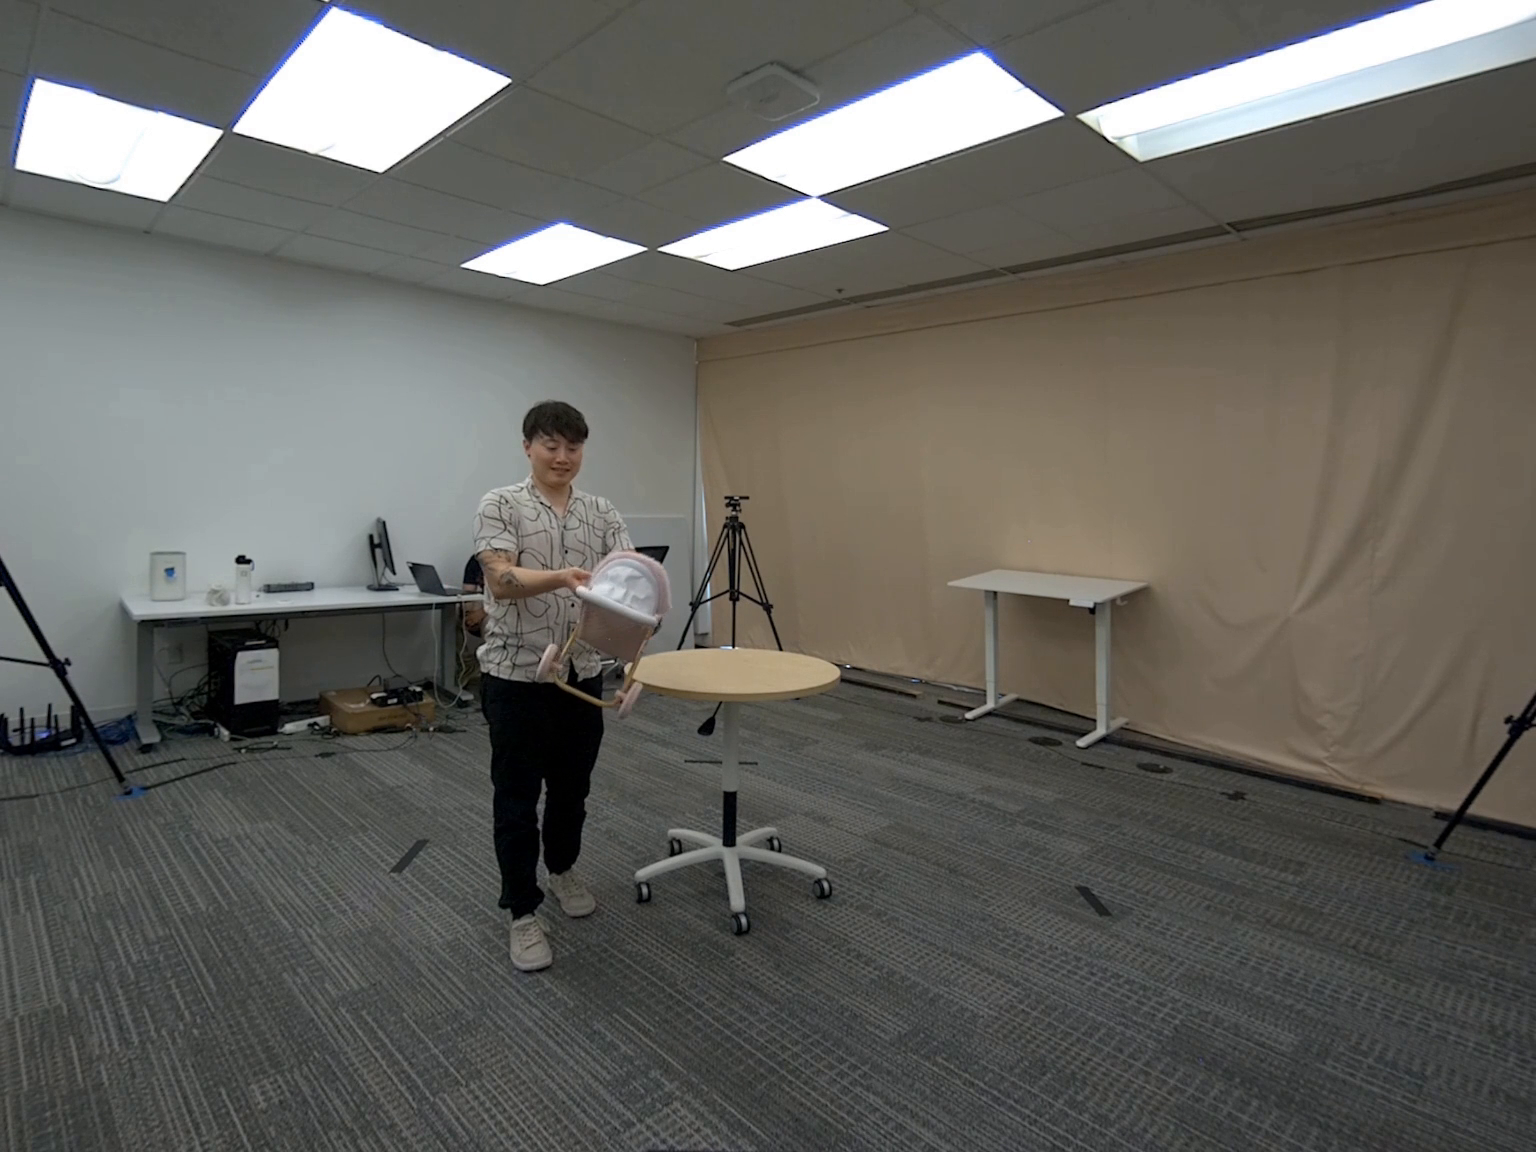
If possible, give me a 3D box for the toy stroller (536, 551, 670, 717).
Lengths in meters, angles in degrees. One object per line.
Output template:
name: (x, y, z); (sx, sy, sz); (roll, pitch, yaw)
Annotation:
toy stroller: (-0.408, 0.126, 2.261); (0.282, 0.530, 0.344); (28, 44, -1)
